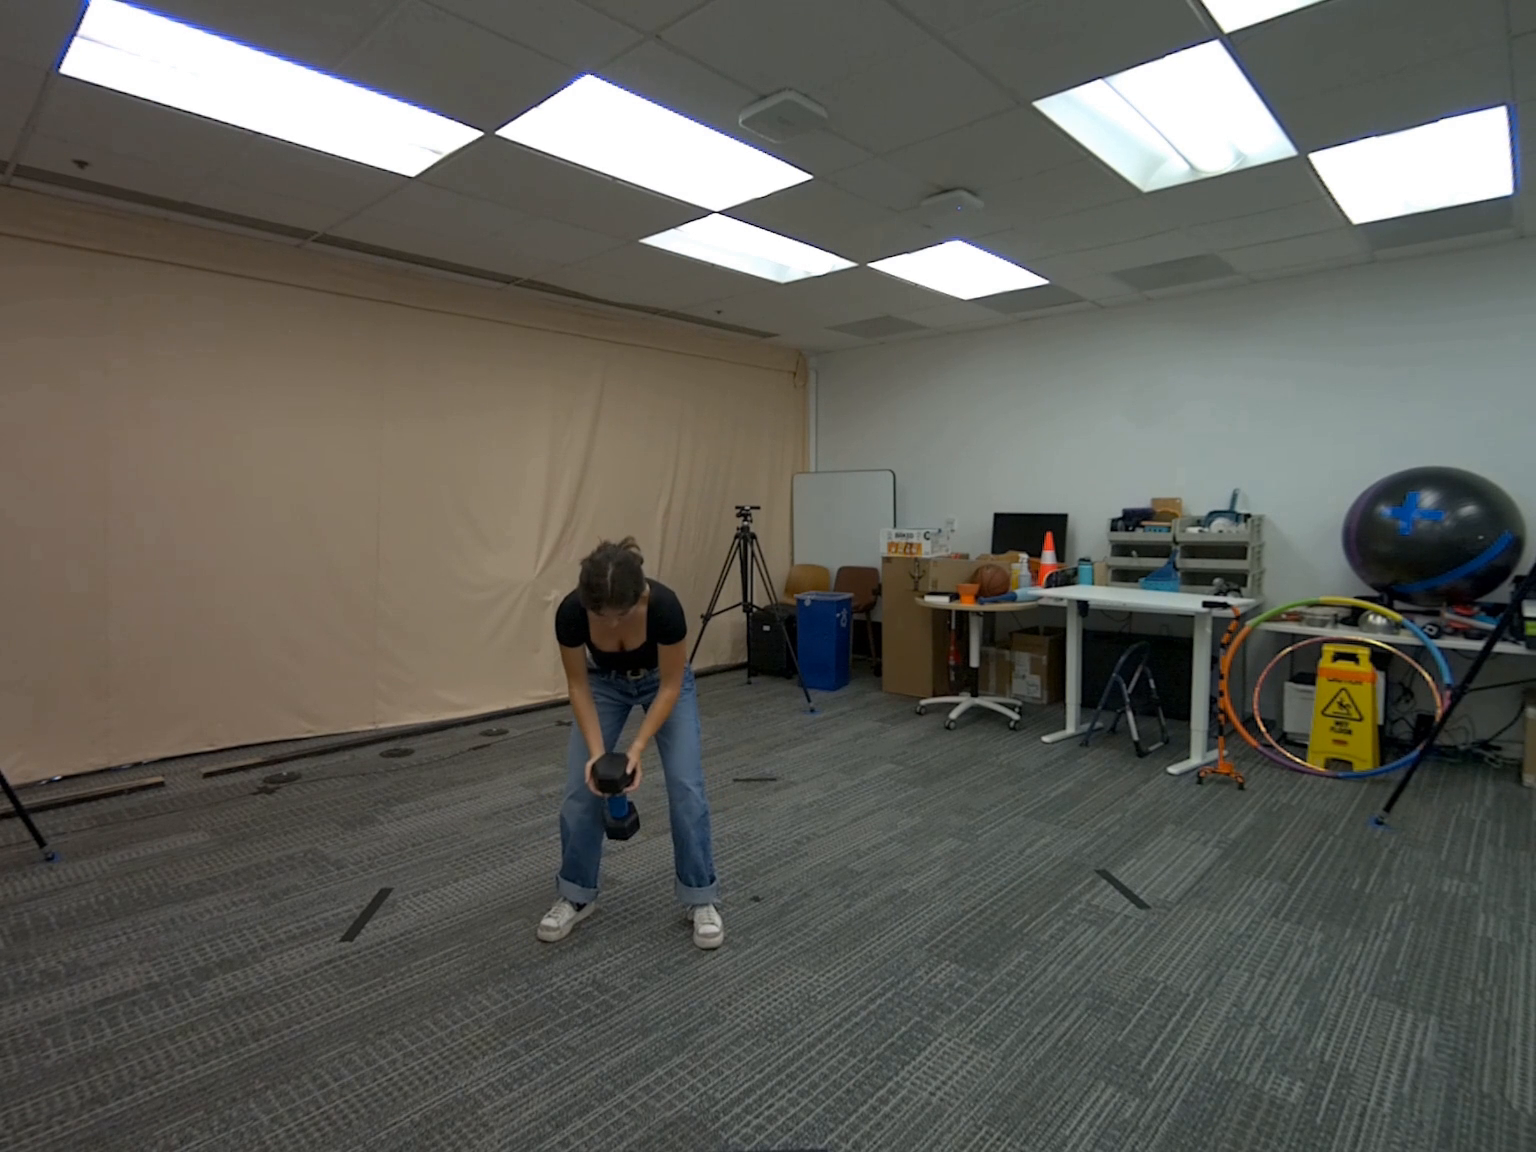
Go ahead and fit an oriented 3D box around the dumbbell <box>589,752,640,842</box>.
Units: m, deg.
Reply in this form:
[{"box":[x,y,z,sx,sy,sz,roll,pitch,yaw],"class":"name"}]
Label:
[{"box":[-0.459,0.681,2.587,0.112,0.288,0.121,19,38,30],"class":"dumbbell"}]
